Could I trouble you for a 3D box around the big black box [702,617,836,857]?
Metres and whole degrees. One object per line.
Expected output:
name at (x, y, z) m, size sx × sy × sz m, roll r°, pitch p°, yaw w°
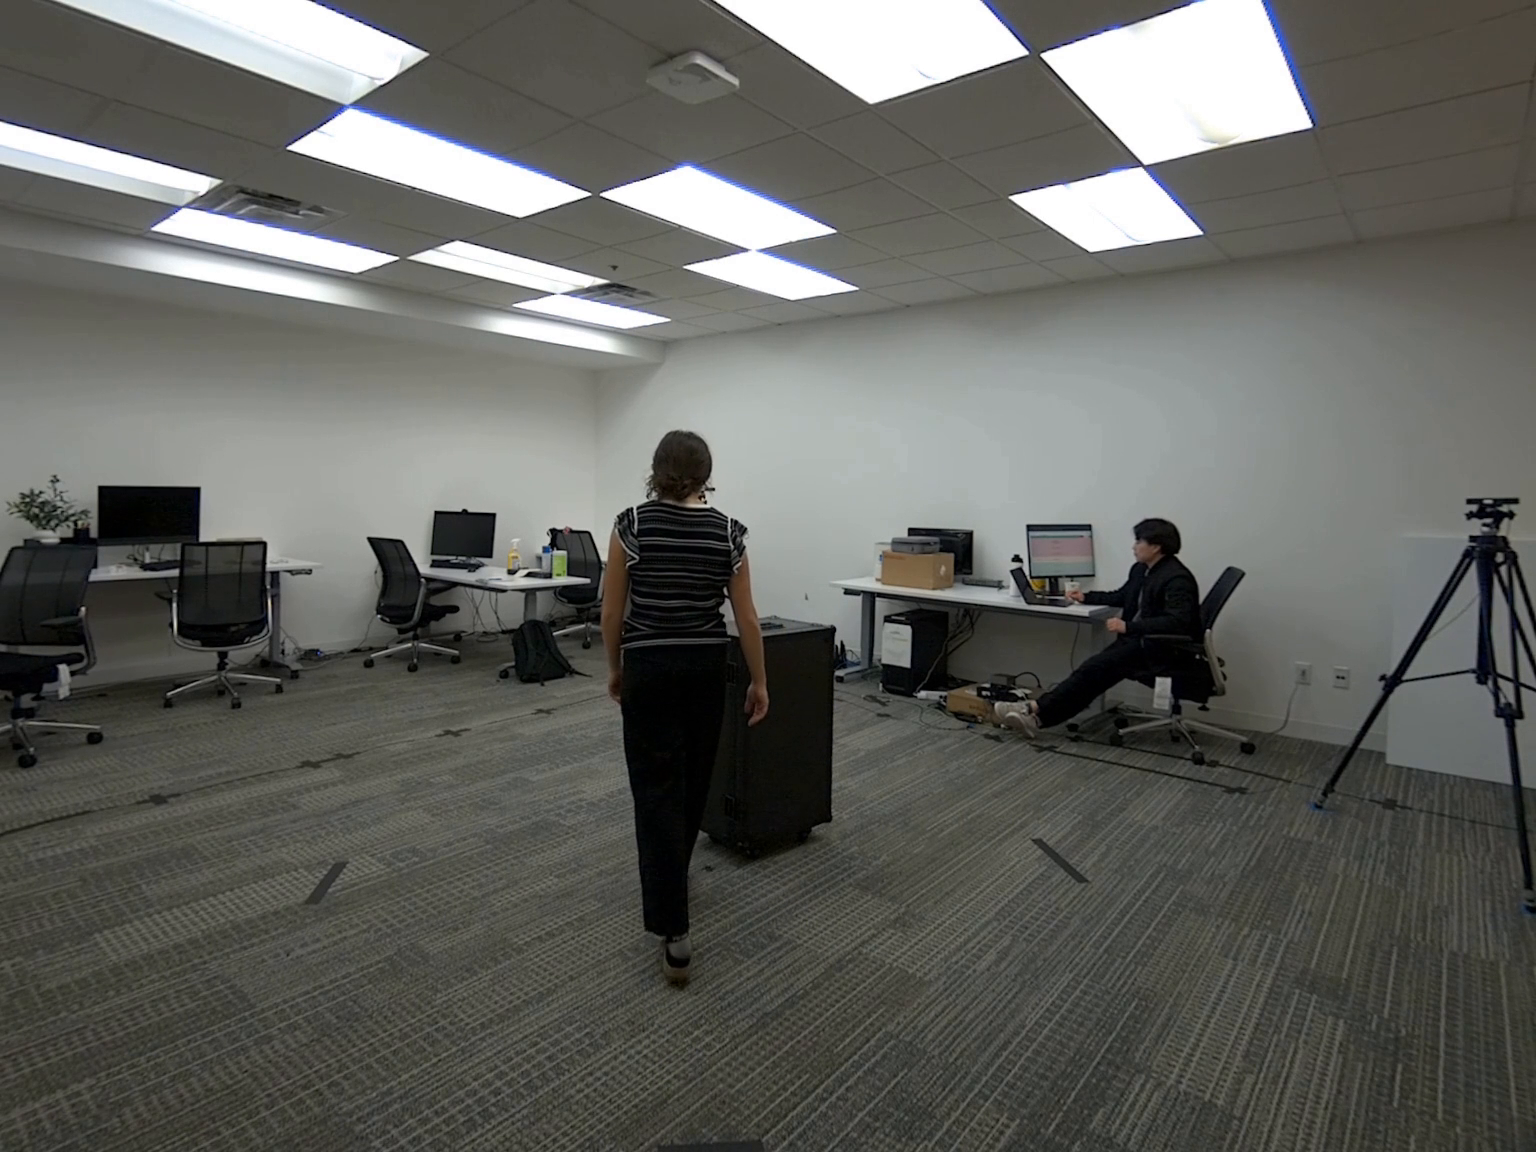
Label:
big black box at (-0.051, 0.619, 3.371) m, size 0.505 × 0.860 × 0.409 m, roll -2°, pitch 3°, yaw -42°
